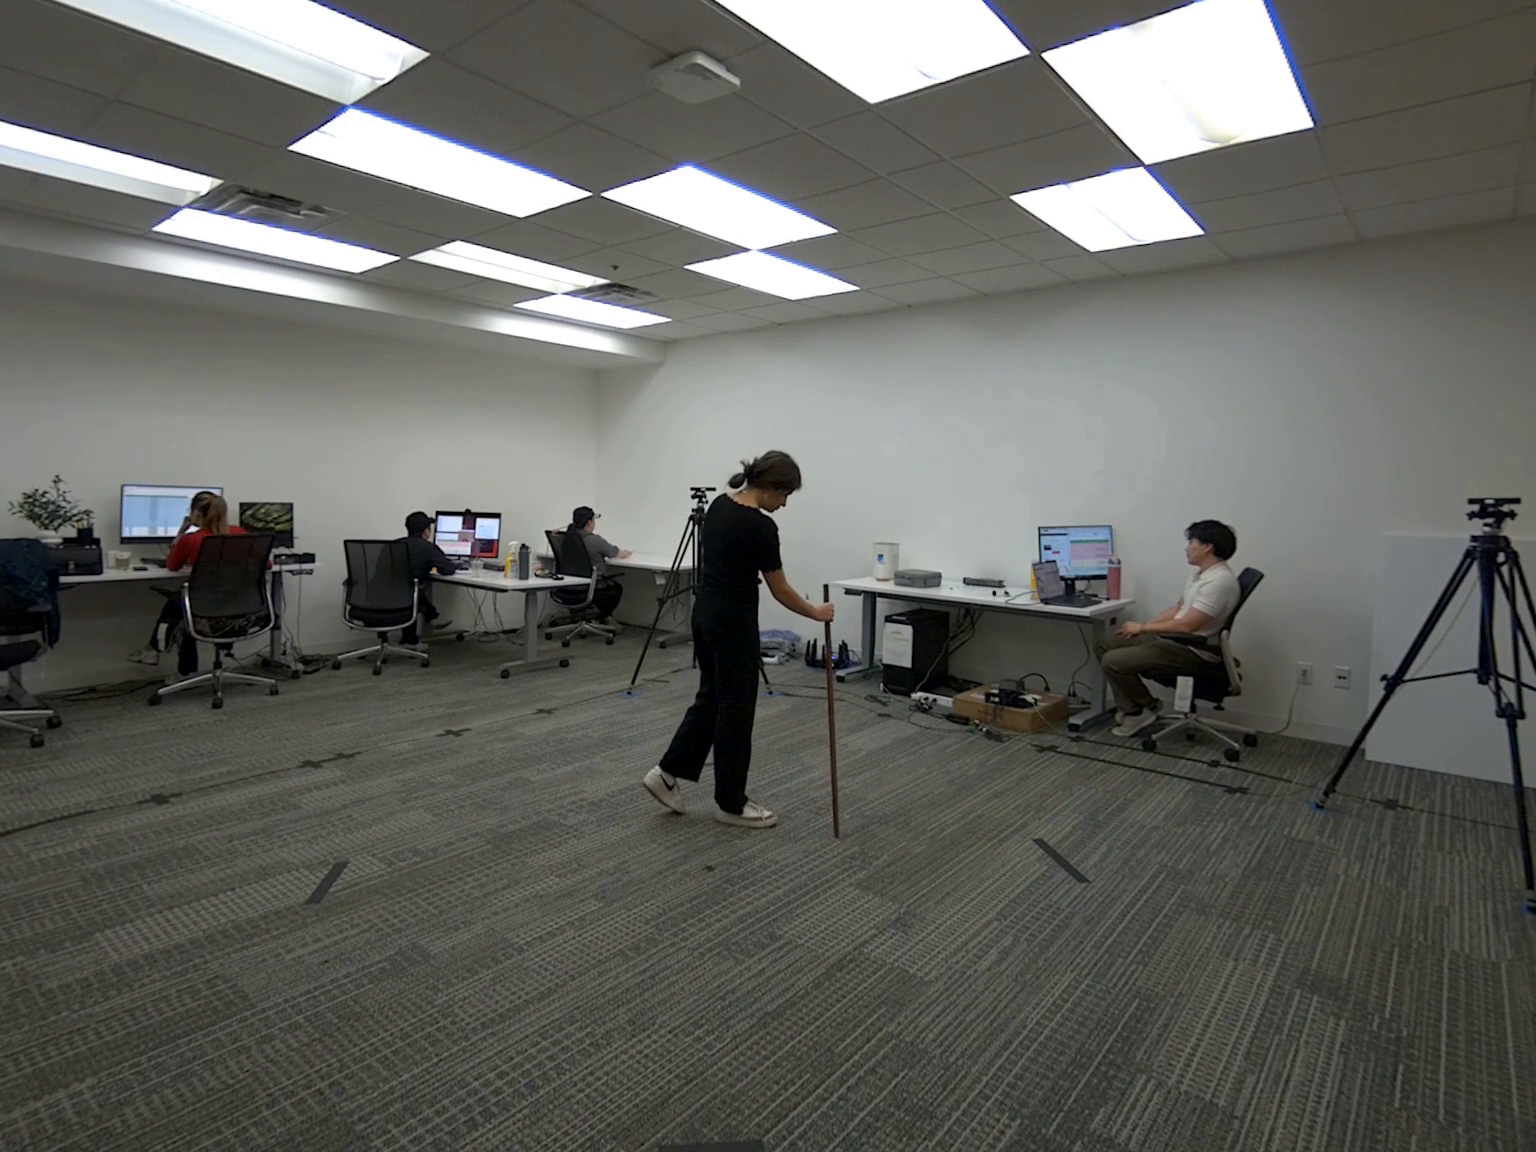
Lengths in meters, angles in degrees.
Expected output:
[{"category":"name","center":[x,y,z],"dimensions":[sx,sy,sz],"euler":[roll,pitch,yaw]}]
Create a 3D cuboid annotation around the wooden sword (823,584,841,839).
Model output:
[{"category":"wooden sword","center":[0.252,0.556,3.539],"dimensions":[0.052,1.038,0.023],"euler":[-8,-14,26]}]
